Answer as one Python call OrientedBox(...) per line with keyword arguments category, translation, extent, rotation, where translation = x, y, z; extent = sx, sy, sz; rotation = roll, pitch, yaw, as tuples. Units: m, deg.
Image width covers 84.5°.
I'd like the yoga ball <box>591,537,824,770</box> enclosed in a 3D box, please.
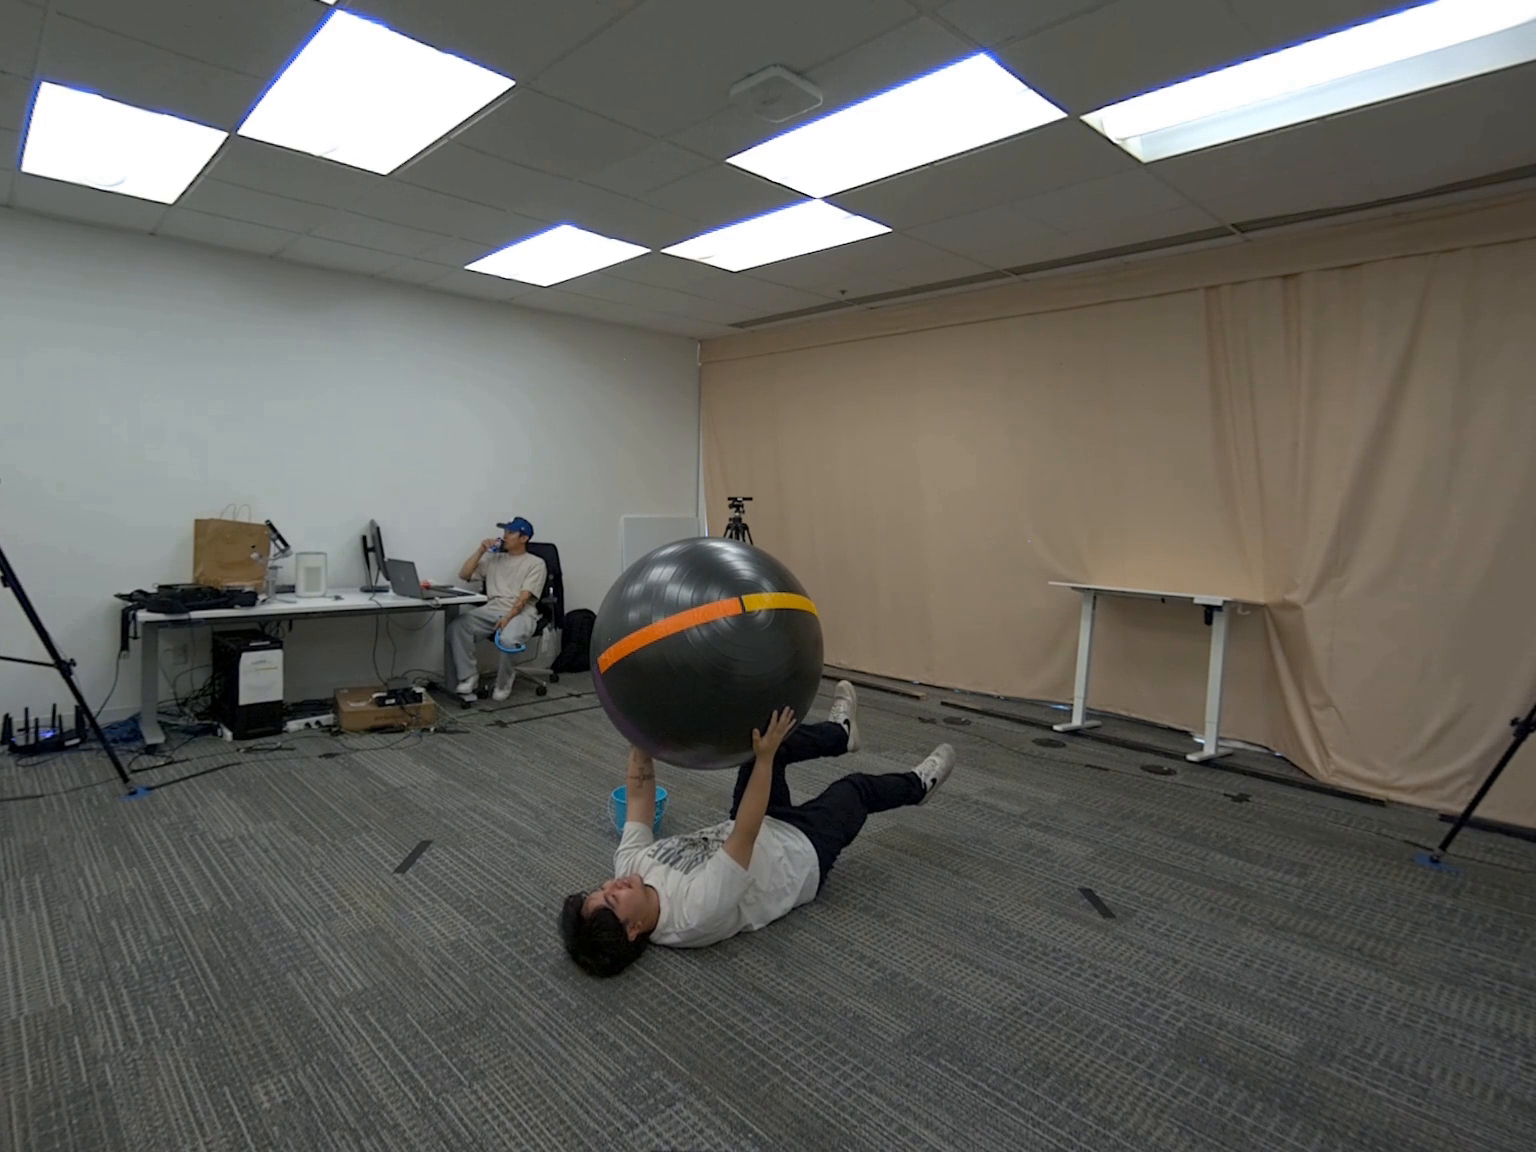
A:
OrientedBox(category="yoga ball", translation=(-0.201, 0.258, 2.759), extent=(0.757, 0.756, 0.761), rotation=(1, 4, -1))
